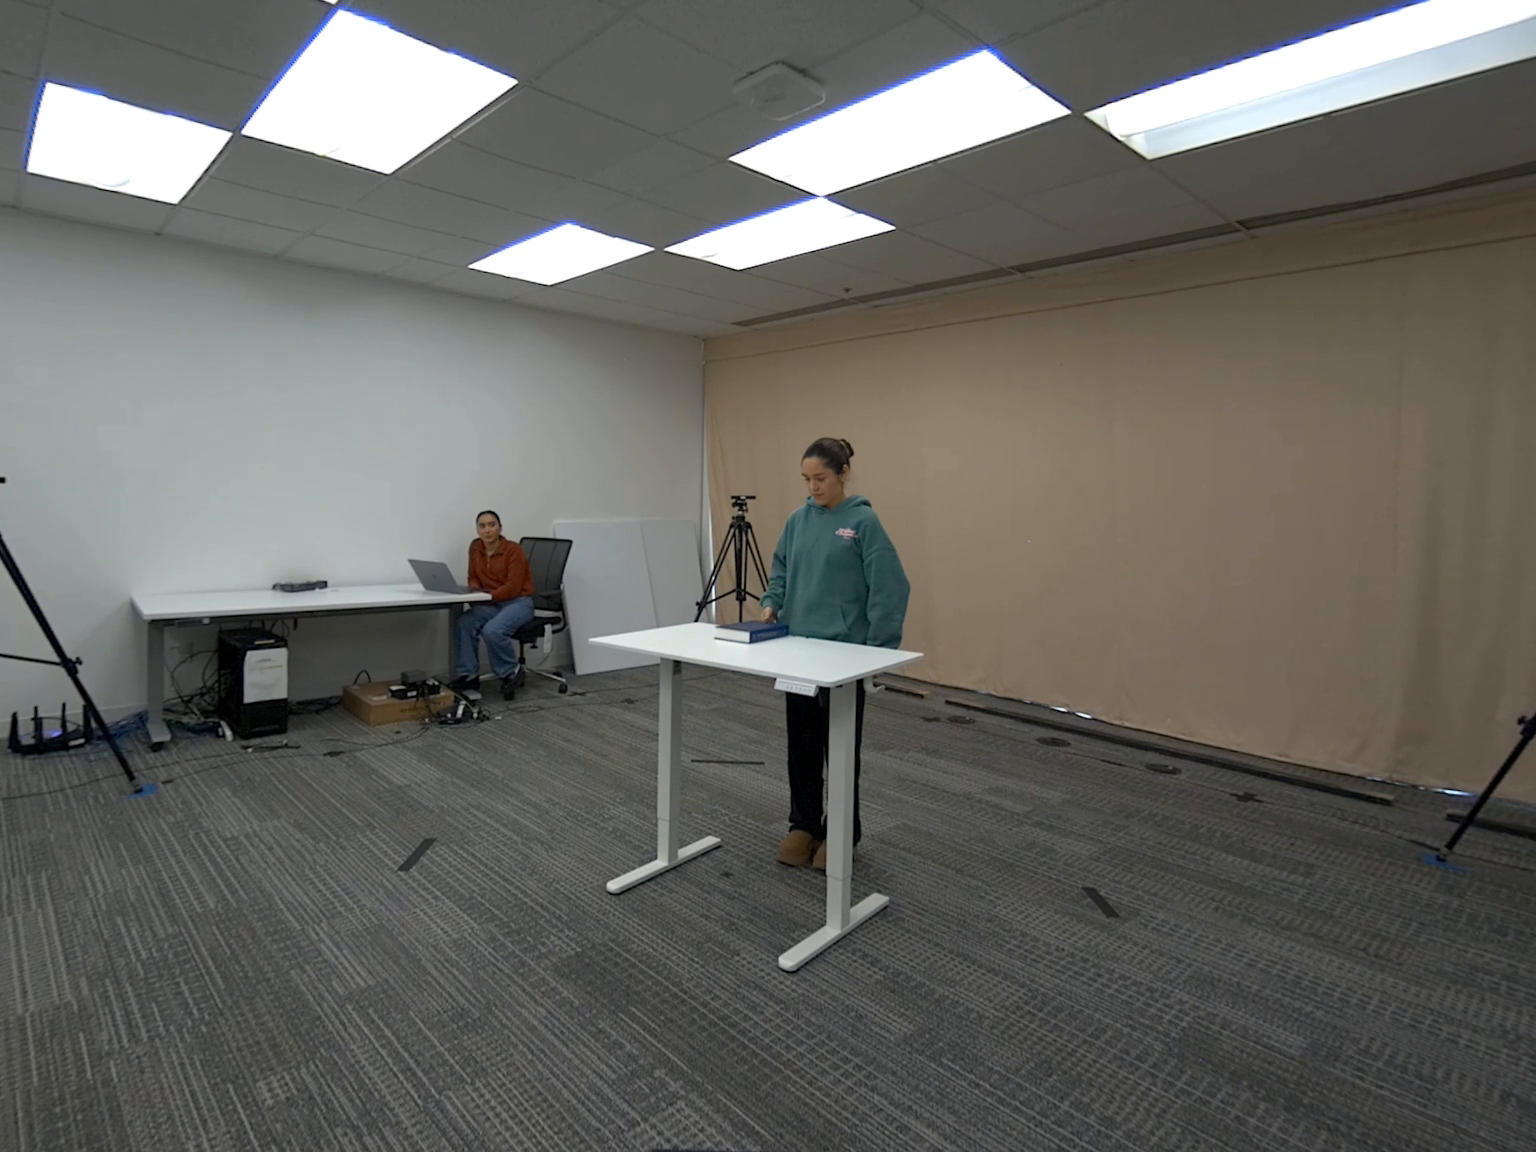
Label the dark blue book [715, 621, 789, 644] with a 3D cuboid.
[{"bbox_3d":[-0.068,0.206,3.078,0.167,0.045,0.240,5,6,34],"label":"dark blue book"}]
